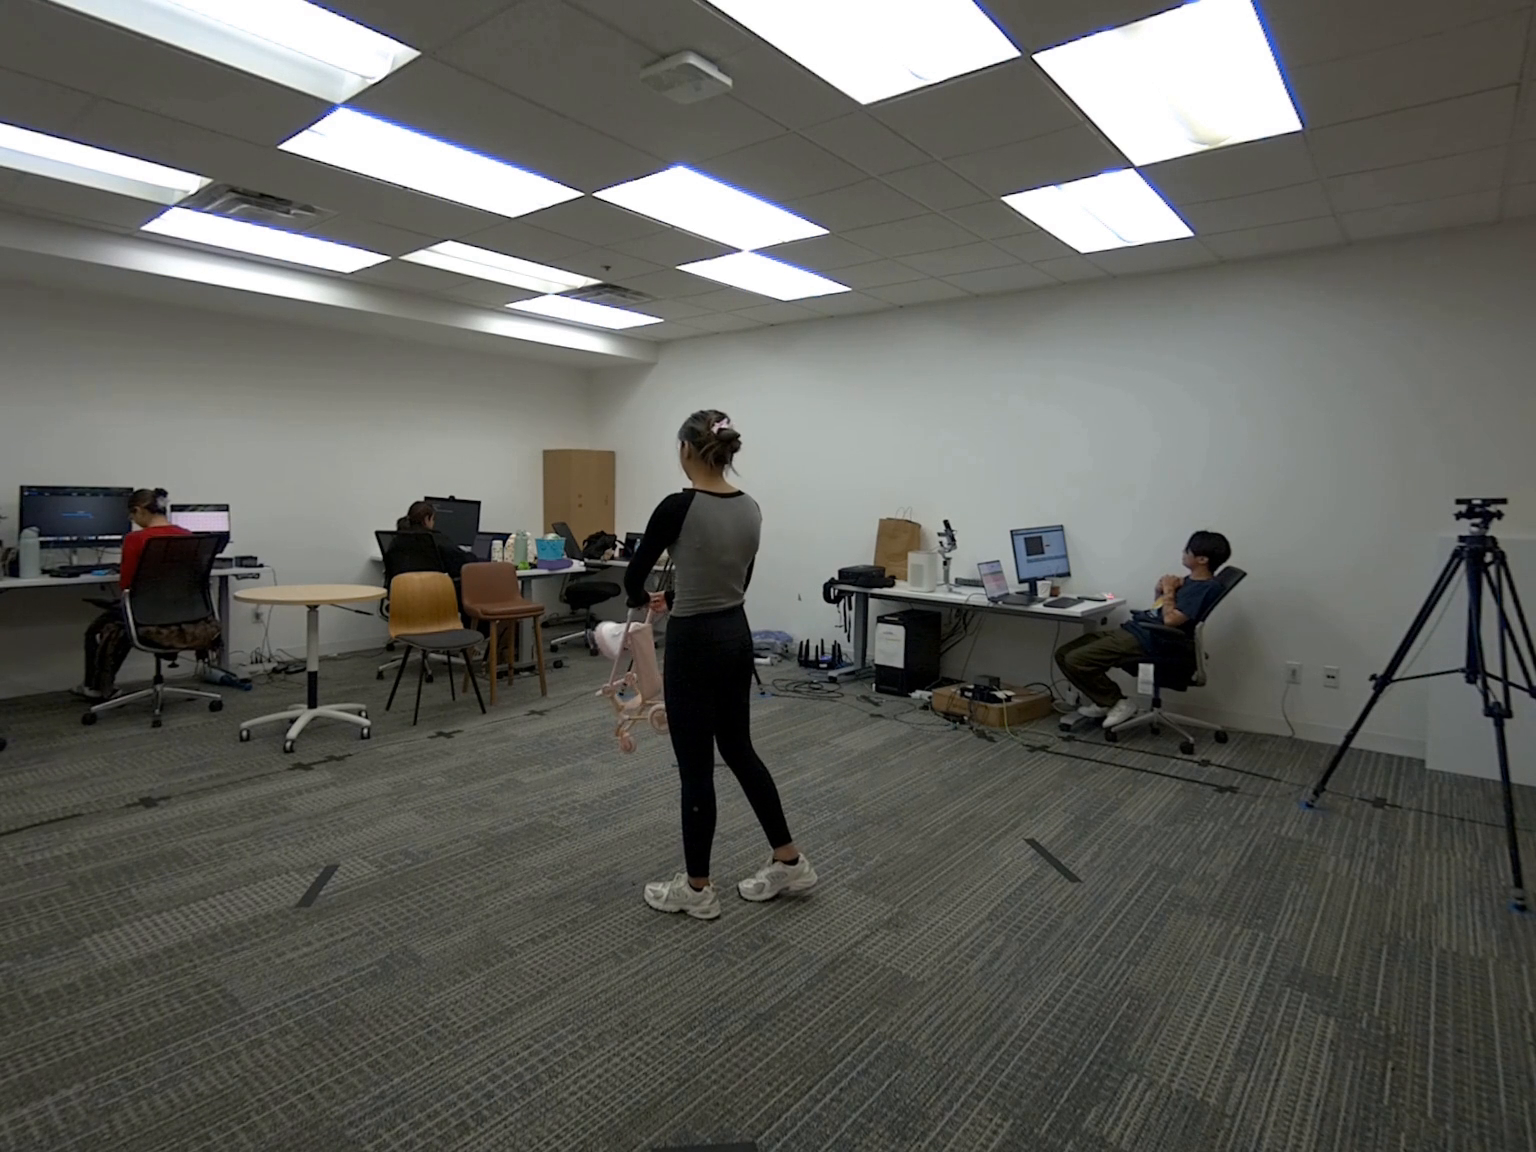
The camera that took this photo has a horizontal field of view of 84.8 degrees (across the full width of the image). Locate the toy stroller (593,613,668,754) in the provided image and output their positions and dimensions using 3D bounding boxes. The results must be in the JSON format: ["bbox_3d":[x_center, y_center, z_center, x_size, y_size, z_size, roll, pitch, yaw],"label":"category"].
[{"bbox_3d":[-0.506,0.376,3.167,0.346,0.536,0.277,-21,-1,23],"label":"toy stroller"}]
